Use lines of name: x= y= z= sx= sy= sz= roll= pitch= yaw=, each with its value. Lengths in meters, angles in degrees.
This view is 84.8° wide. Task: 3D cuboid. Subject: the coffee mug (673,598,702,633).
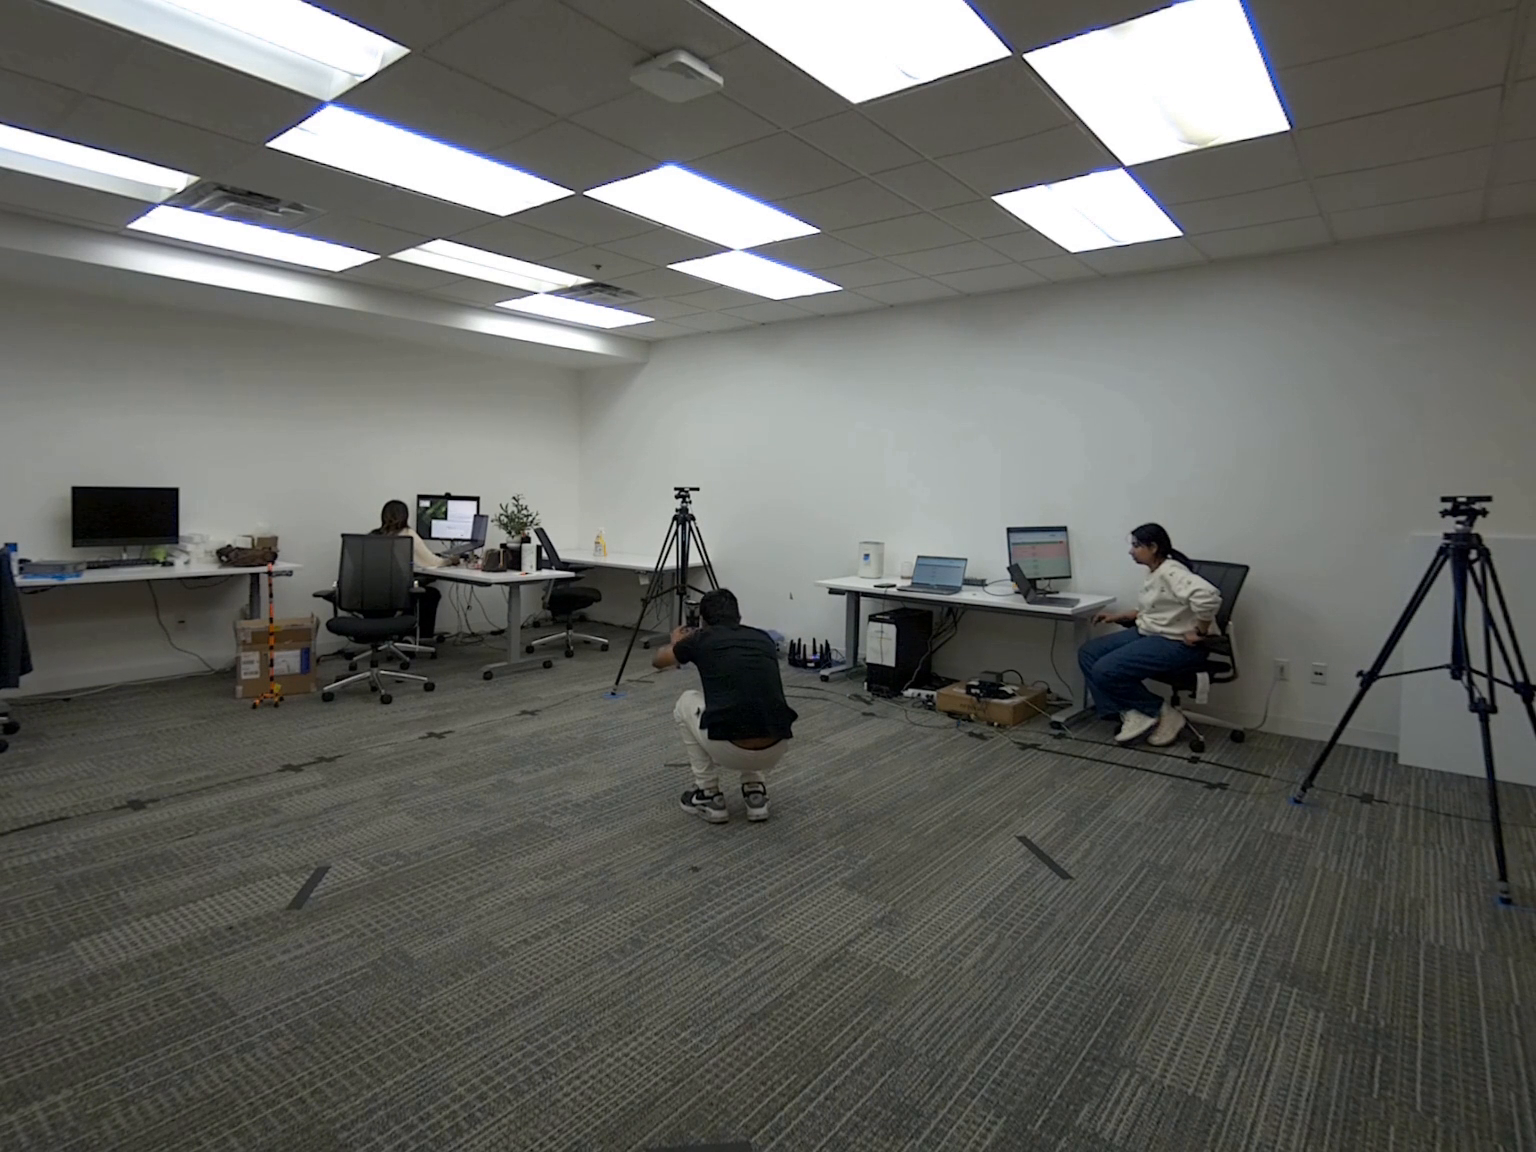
coffee mug: x=-0.395 y=0.221 z=4.223 sx=0.118 sy=0.202 sz=0.091 roll=2 pitch=5 yaw=-38
